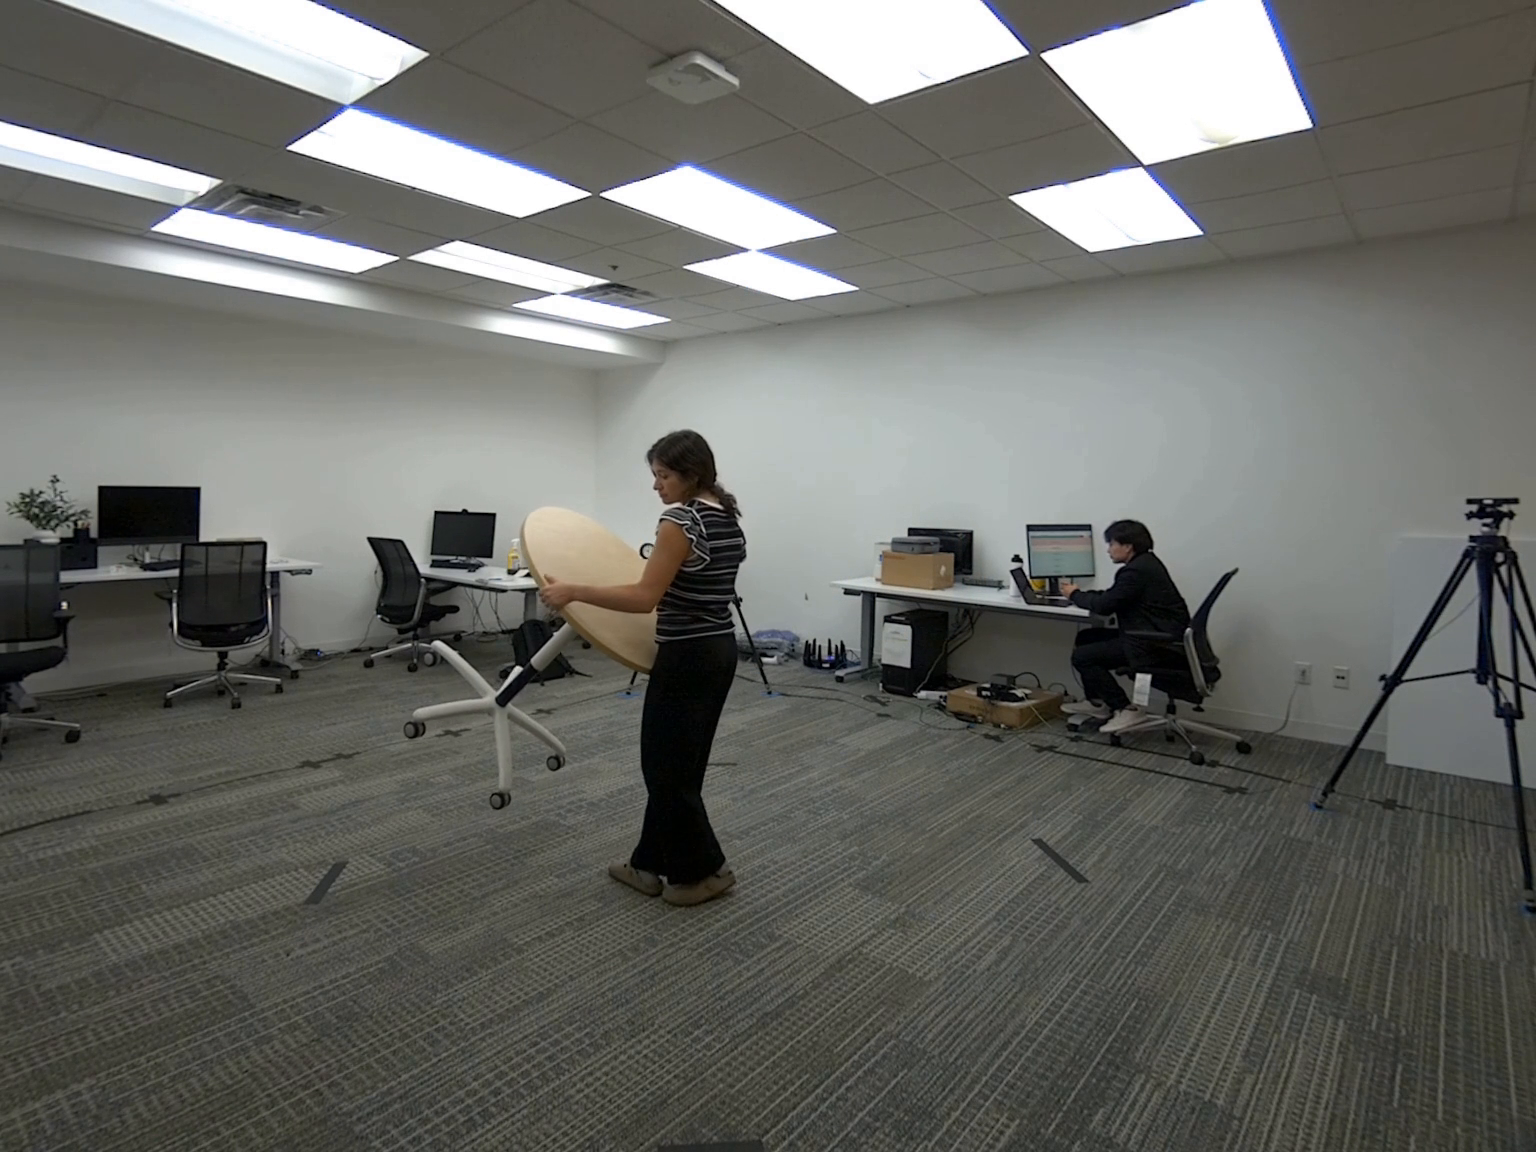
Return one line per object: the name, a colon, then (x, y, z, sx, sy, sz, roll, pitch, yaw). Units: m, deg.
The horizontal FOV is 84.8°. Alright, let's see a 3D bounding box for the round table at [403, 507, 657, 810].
round table: (-0.828, 0.303, 3.102, 0.747, 0.794, 0.781, 40, 17, -17)
